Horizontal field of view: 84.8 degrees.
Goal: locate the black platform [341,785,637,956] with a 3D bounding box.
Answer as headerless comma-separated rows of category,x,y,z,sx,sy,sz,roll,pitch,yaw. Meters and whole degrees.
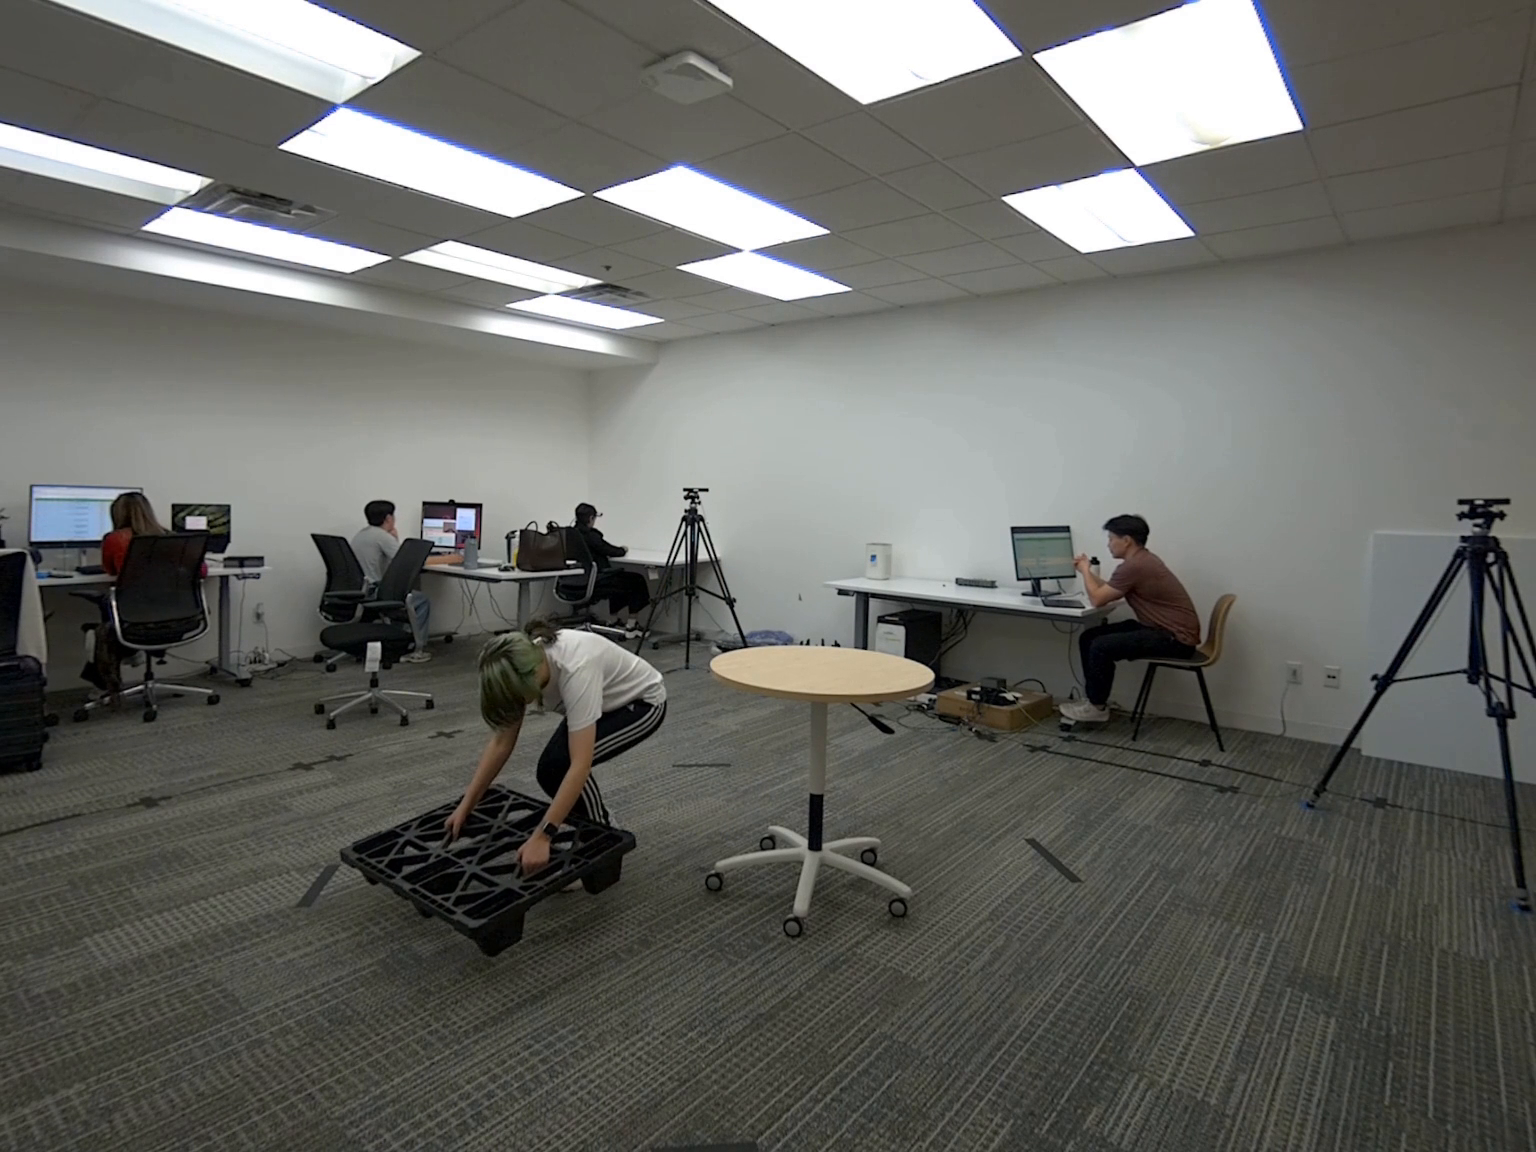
black platform,-0.912,0.915,2.717,0.832,0.142,0.591,4,14,40
